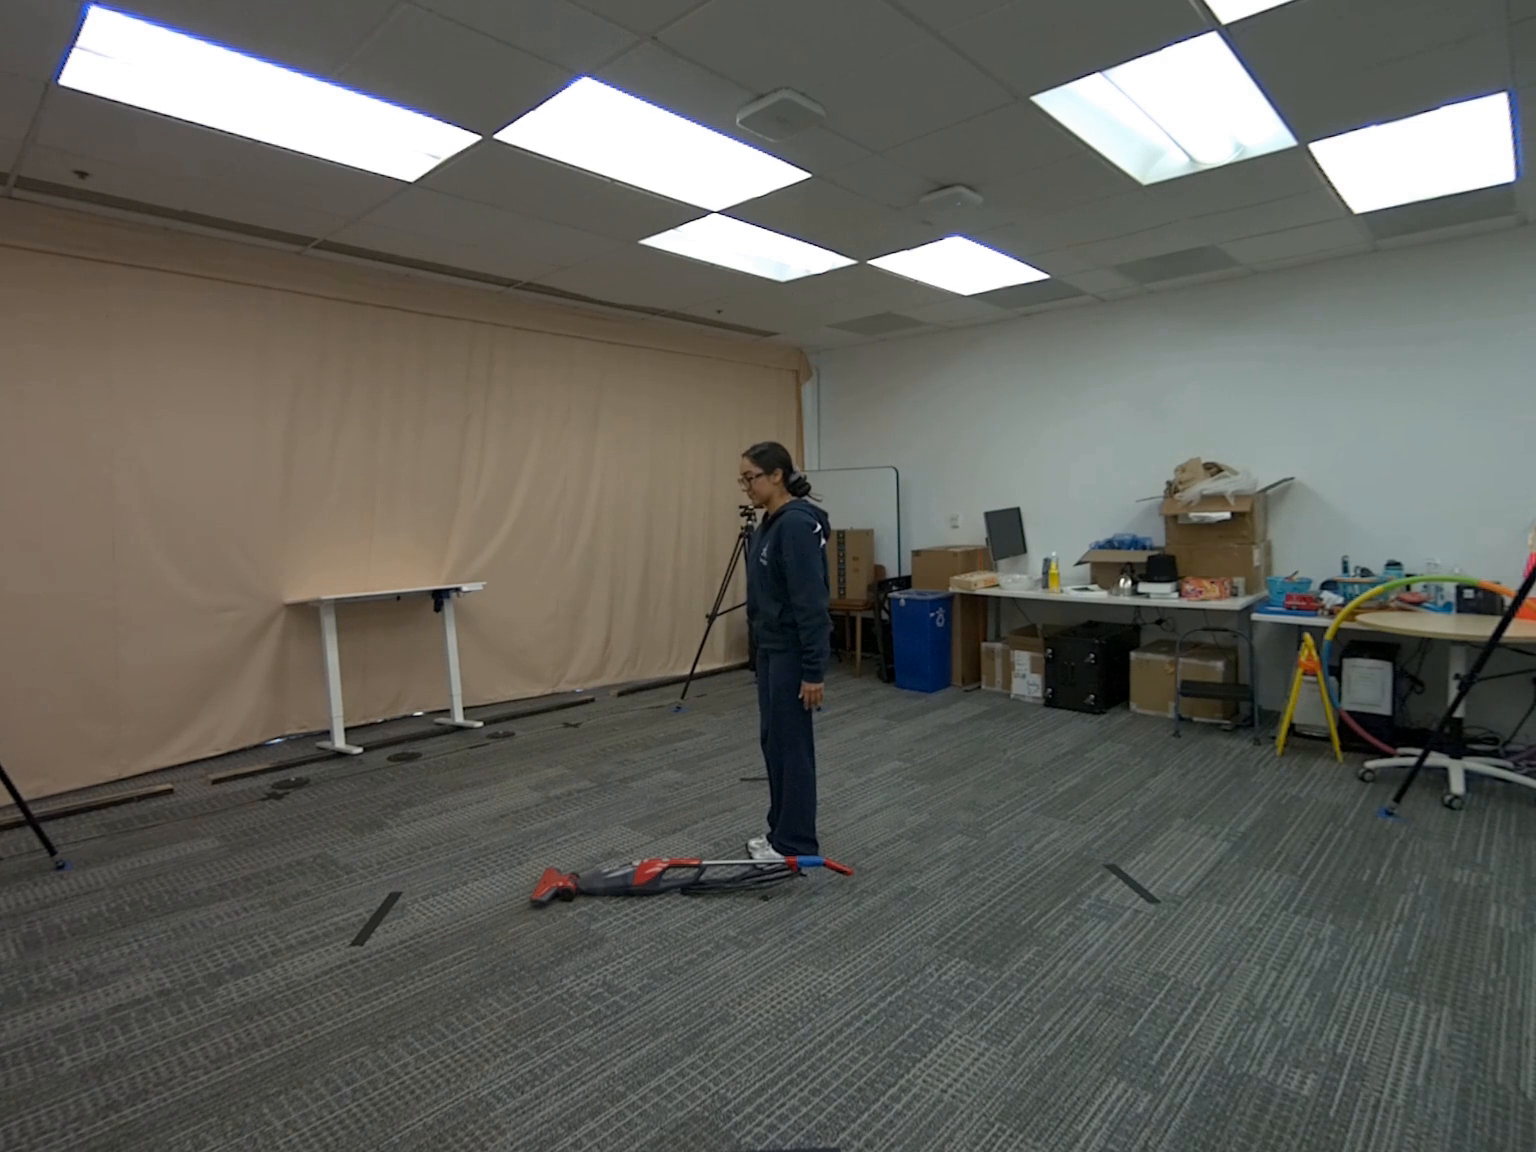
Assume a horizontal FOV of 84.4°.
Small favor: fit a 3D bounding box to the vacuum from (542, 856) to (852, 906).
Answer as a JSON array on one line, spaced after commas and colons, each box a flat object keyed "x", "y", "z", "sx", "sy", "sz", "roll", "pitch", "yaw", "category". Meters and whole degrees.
[{"x": -0.226, "y": 1.082, "z": 3.027, "sx": 1.052, "sy": 0.144, "sz": 0.252, "roll": -3, "pitch": -1, "yaw": 2, "category": "vacuum"}]
